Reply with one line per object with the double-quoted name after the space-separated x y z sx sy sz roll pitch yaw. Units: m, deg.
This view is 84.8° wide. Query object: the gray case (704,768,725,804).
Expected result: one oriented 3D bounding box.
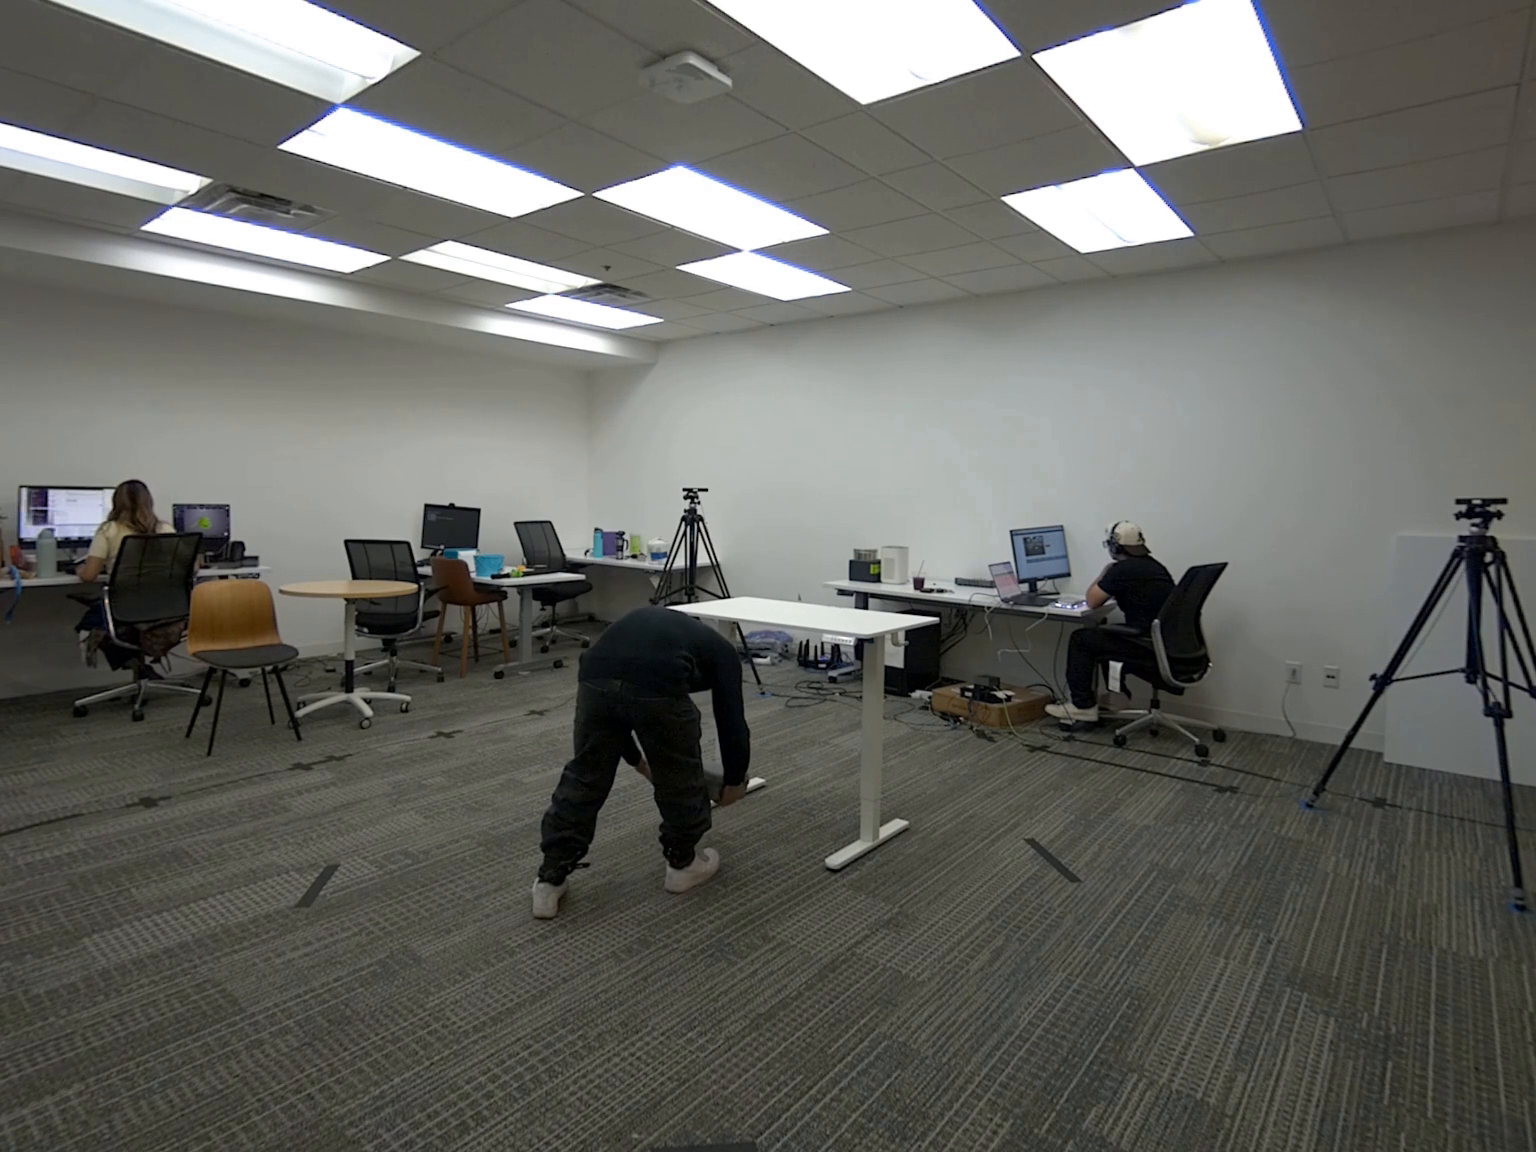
-0.236 0.745 3.207 0.269 0.104 0.248 8 -2 30 "gray case"
